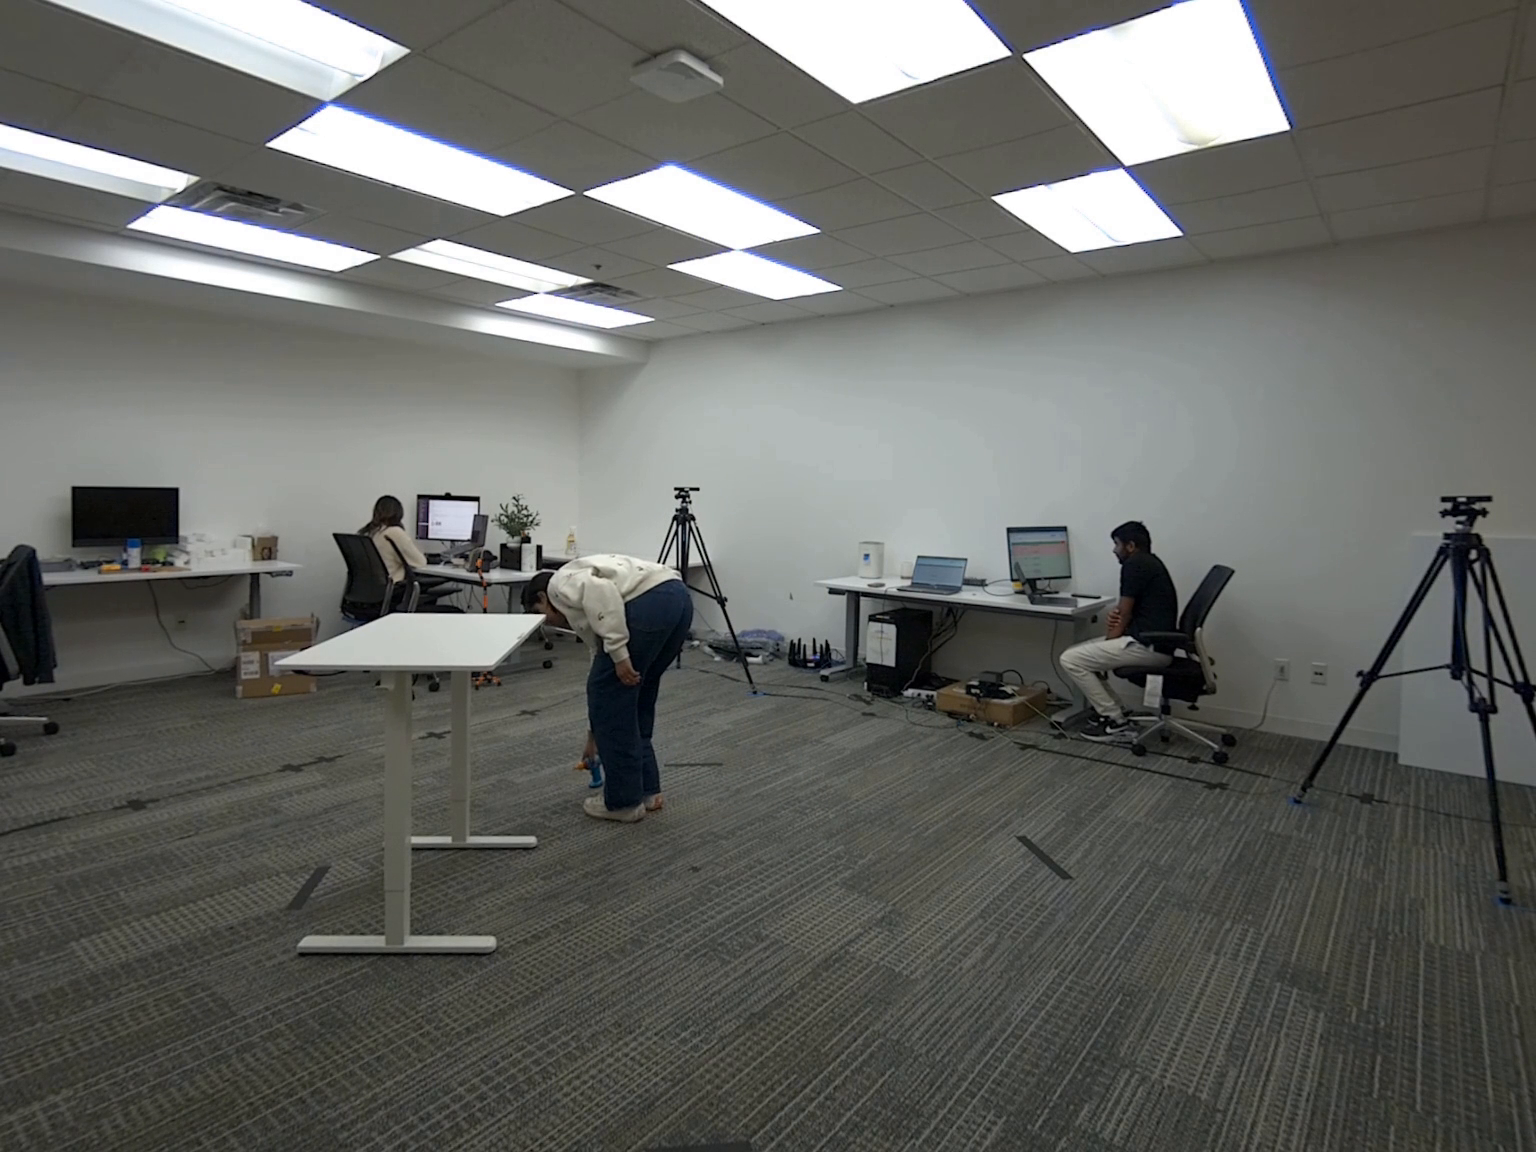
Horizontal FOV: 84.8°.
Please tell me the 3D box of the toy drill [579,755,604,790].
[{"bbox_3d":[-0.846,0.897,3.925,0.165,0.145,0.063,-4,5,-39],"label":"toy drill"}]
